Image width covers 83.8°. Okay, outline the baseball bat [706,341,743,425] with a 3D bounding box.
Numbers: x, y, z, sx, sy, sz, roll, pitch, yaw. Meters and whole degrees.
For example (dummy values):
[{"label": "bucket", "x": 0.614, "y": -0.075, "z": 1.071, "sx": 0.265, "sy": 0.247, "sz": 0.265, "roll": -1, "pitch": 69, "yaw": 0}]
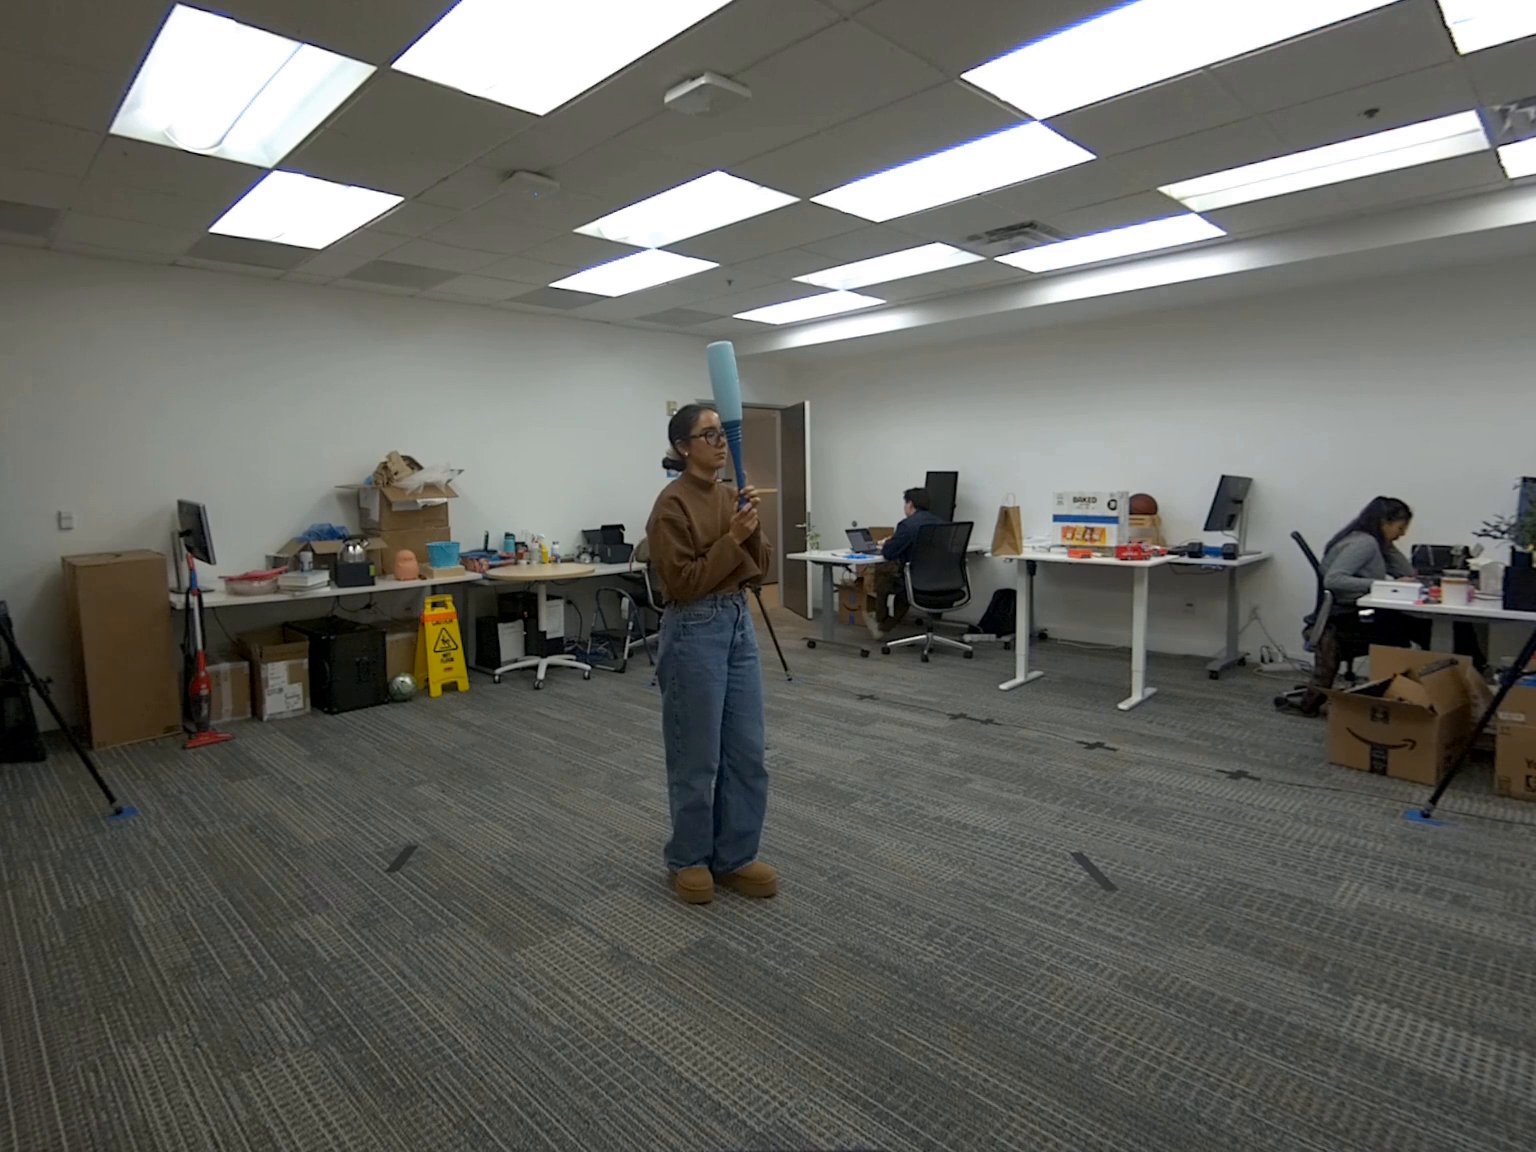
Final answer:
[{"label": "baseball bat", "x": -0.111, "y": -0.472, "z": 2.717, "sx": 0.089, "sy": 0.540, "sz": 0.089, "roll": -8, "pitch": 4, "yaw": -1}]
